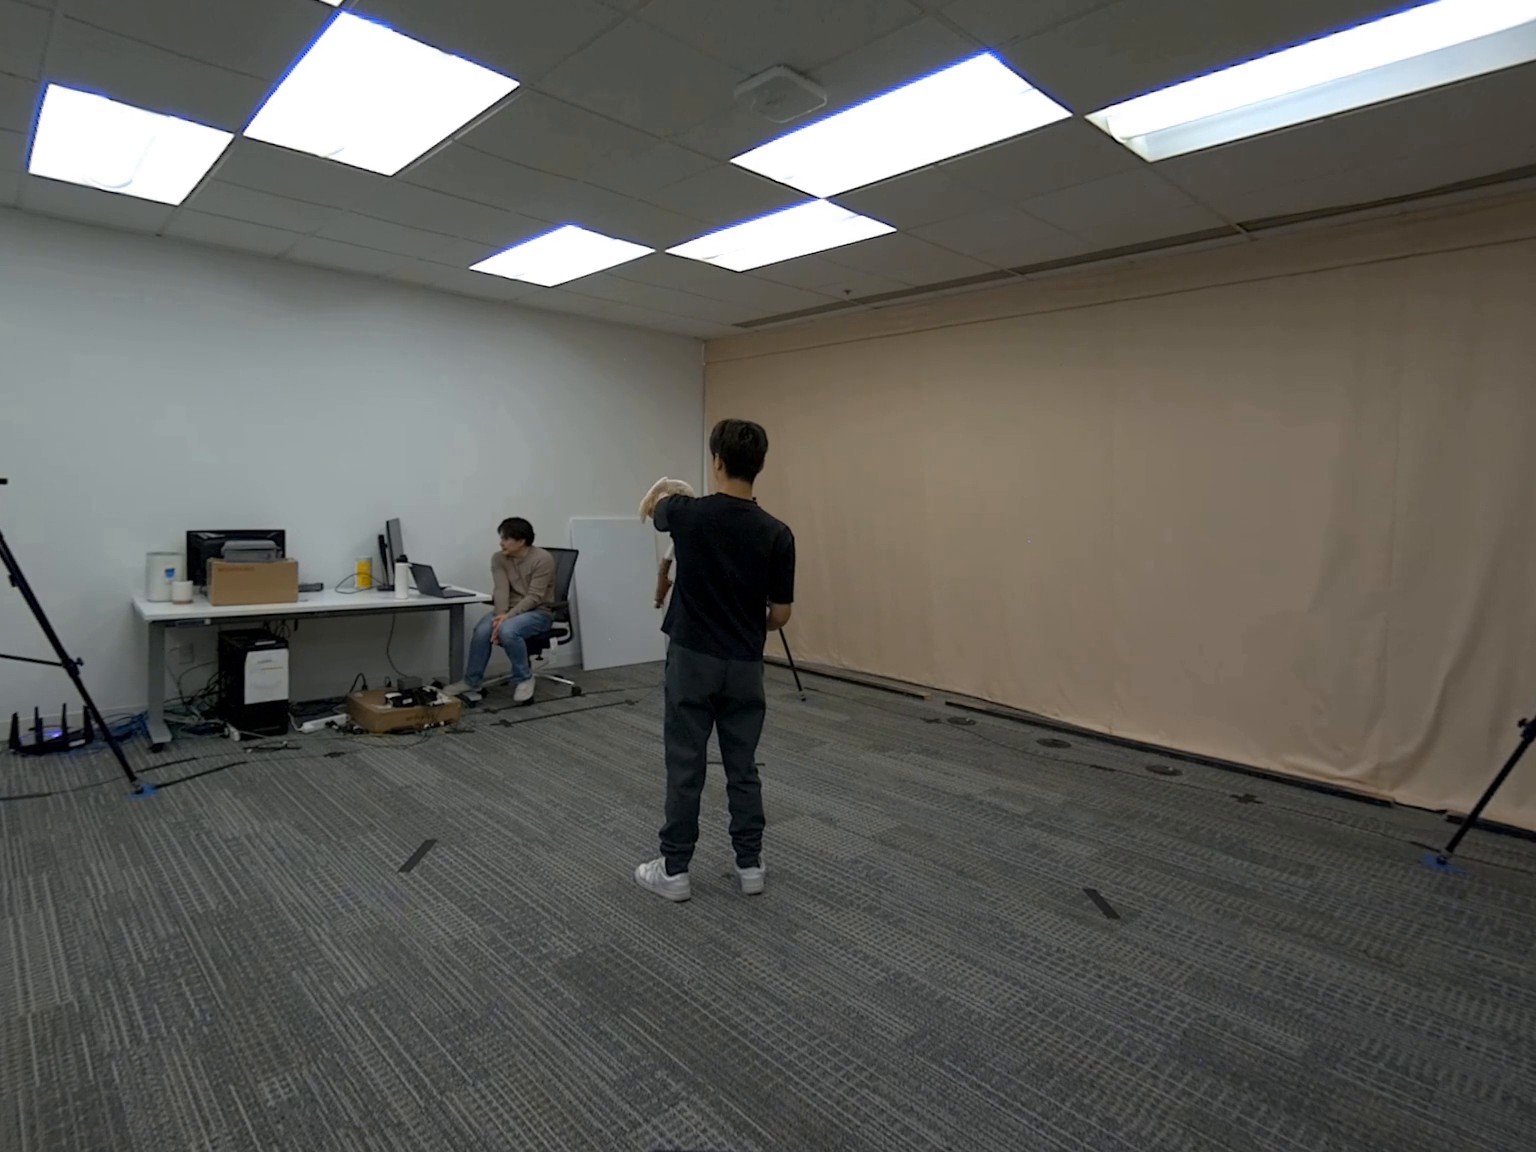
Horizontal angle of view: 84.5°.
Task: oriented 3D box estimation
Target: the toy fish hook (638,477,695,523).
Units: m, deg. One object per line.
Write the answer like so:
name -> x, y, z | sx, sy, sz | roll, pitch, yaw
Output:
toy fish hook -> -0.432, -0.130, 3.275 | 0.221, 0.506, 0.049 | 14, 1, -15
